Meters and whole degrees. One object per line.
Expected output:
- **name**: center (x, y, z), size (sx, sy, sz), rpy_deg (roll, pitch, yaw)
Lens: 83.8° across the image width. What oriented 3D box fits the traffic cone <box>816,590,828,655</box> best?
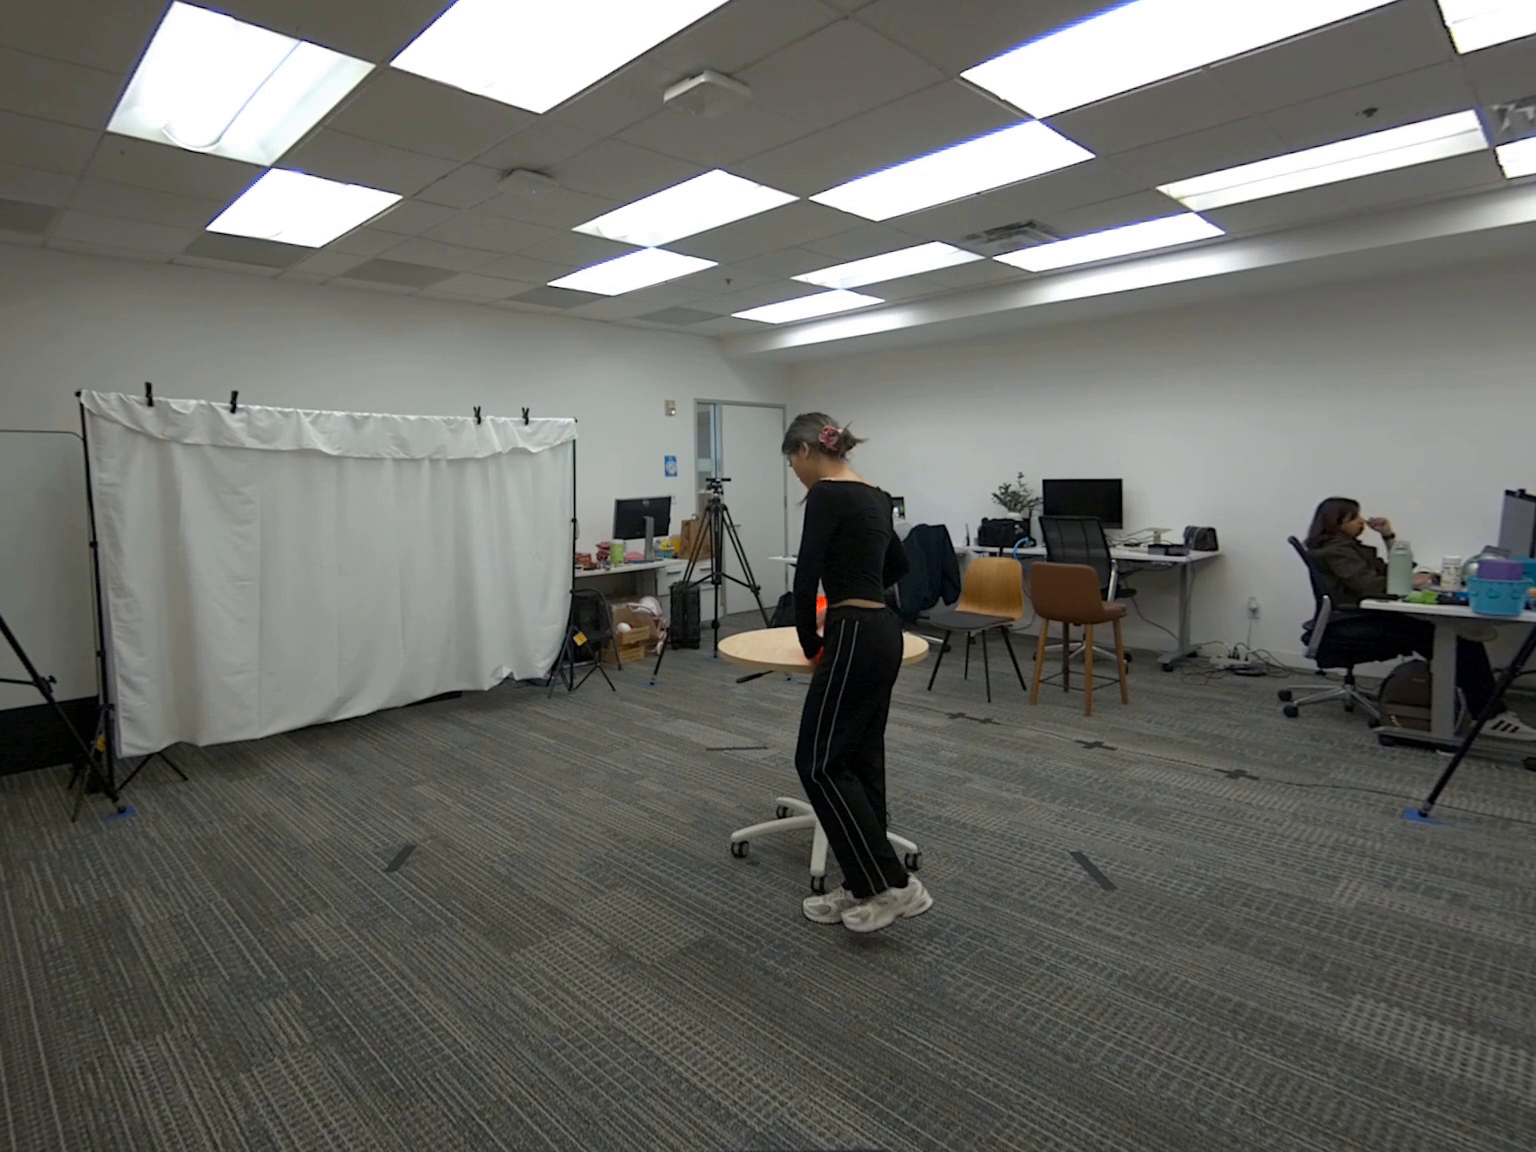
- **traffic cone**: center (0.212, 0.221, 2.855), size (0.206, 0.200, 0.387), rpy_deg (6, 19, 5)
